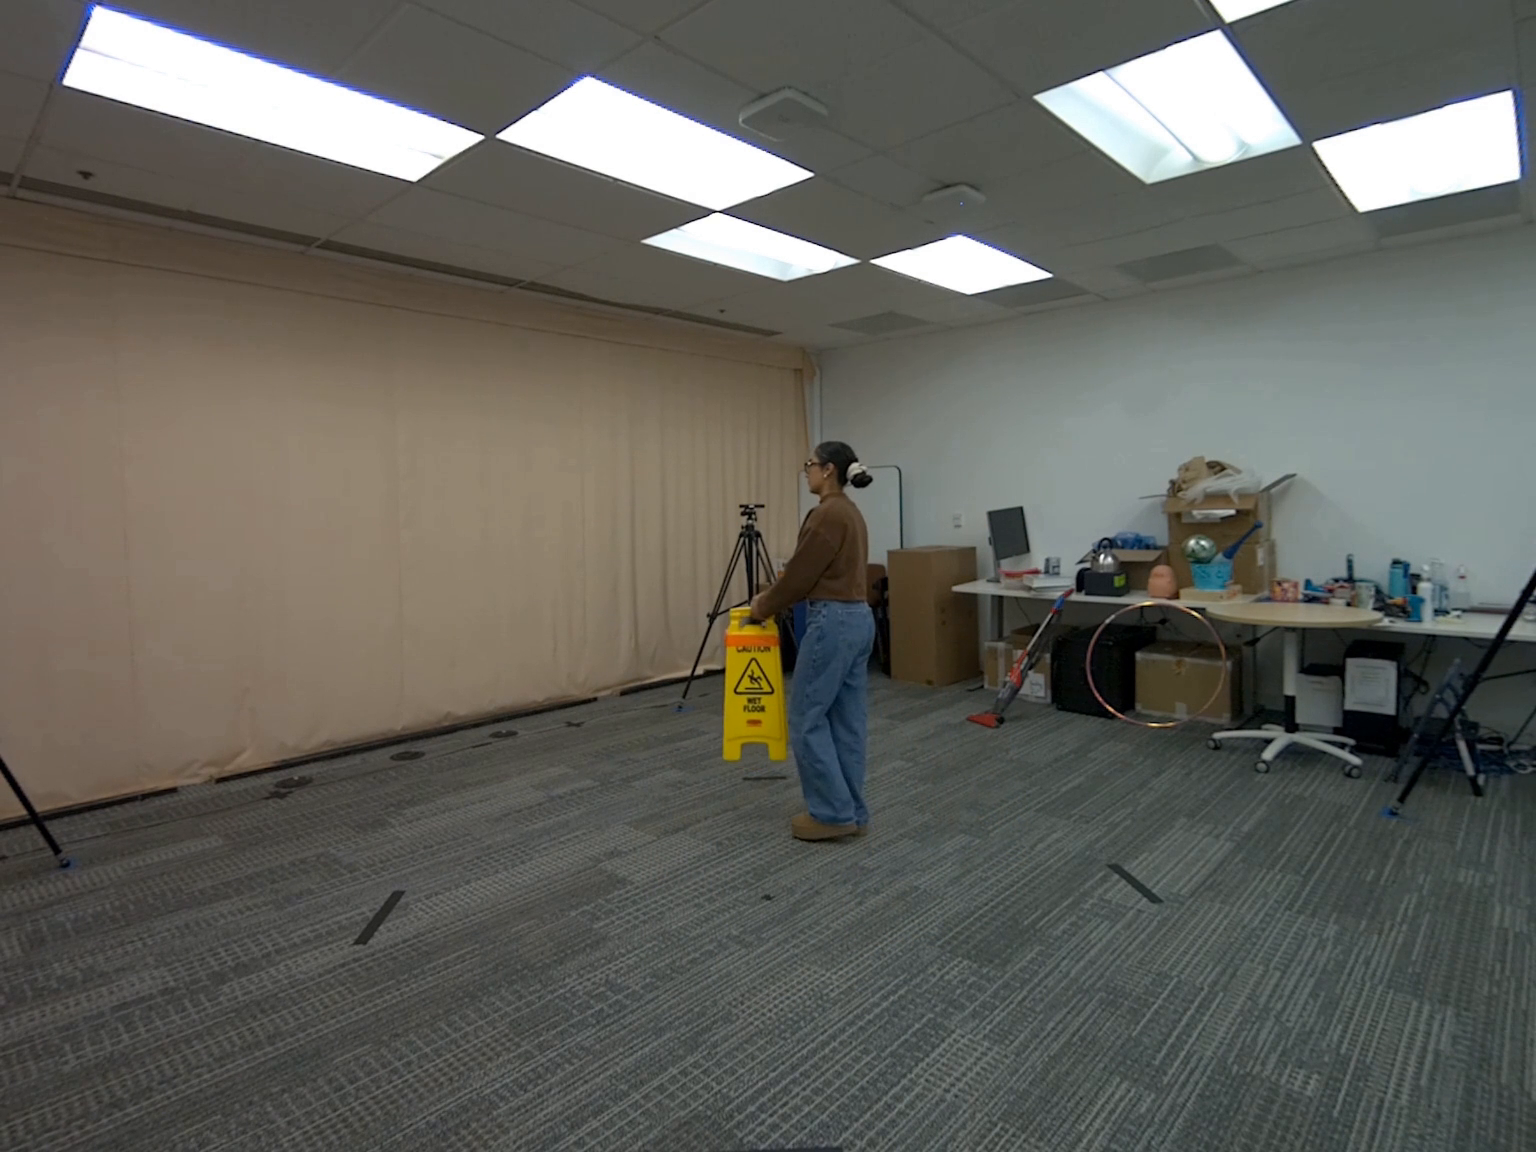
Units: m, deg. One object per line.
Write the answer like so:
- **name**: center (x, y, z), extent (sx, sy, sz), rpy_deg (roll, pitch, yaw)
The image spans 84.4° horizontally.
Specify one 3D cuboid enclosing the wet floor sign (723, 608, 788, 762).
- **wet floor sign**: center (-0.066, 0.469, 3.765), extent (0.283, 0.643, 0.290), rpy_deg (-2, 7, 2)
